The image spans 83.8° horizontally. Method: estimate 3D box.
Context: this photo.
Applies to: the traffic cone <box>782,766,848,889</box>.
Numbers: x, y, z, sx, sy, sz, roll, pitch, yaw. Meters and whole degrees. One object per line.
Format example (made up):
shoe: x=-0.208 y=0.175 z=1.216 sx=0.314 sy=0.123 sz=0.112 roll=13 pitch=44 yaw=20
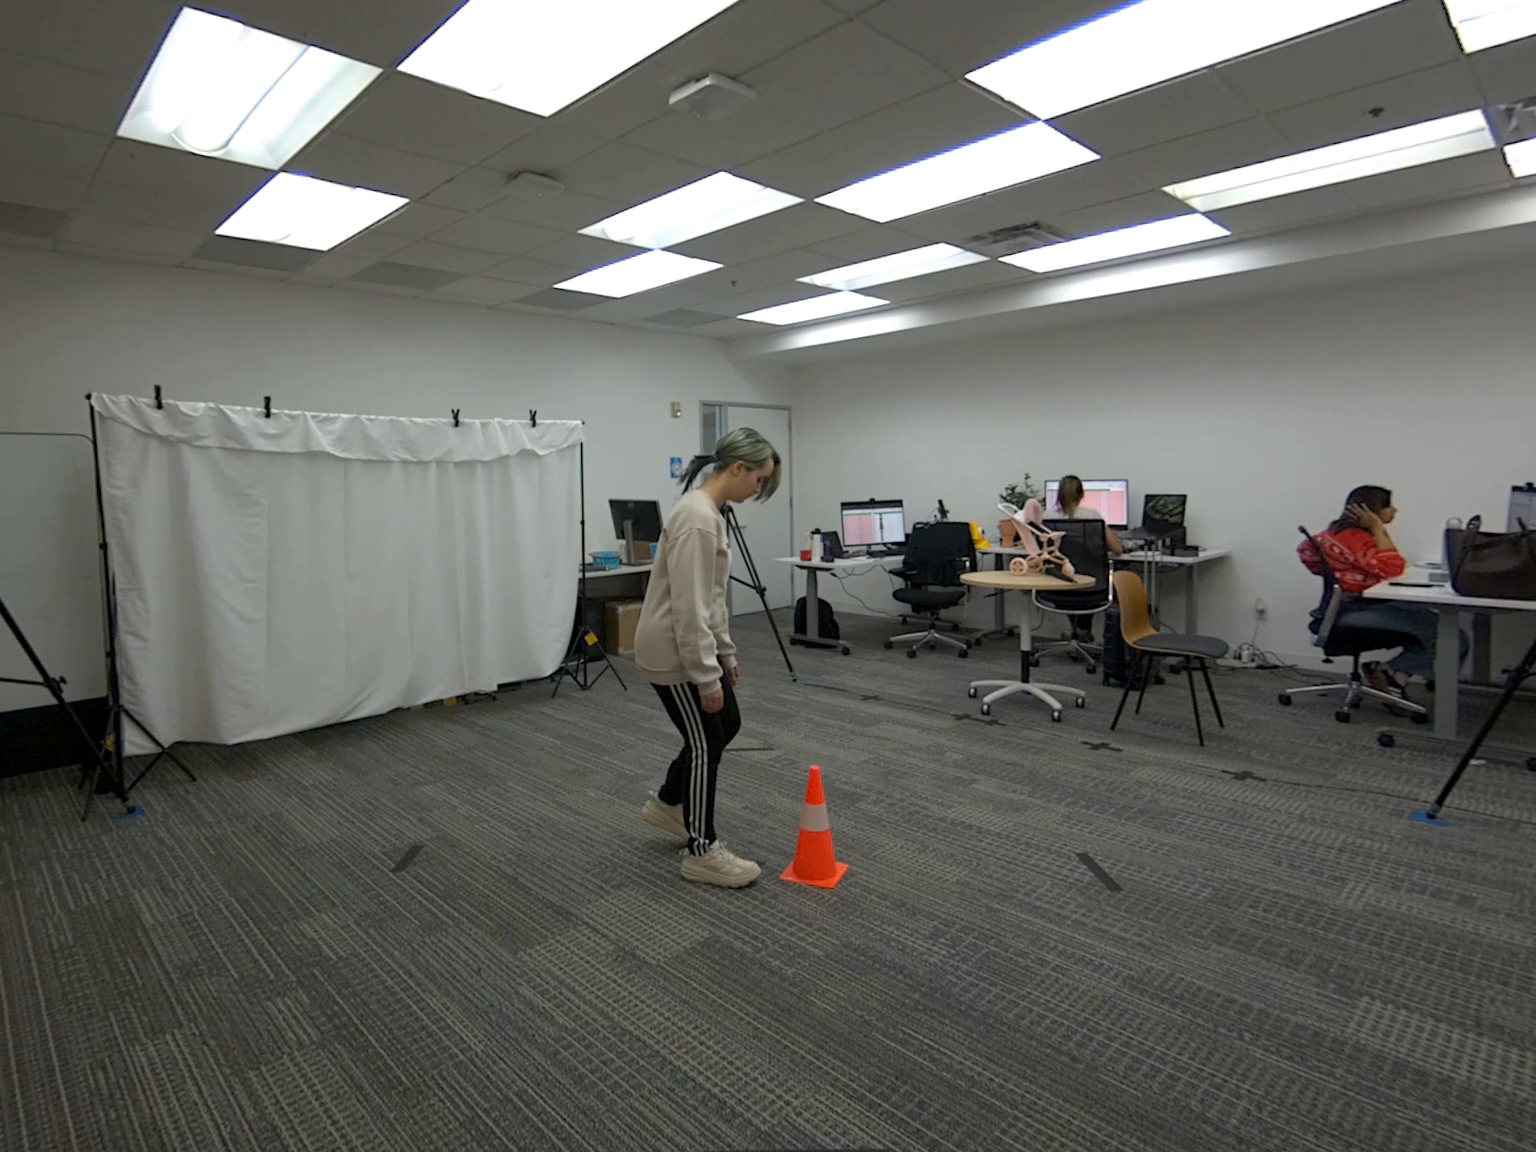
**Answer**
traffic cone: x=0.171 y=0.870 z=3.022 sx=0.208 sy=0.382 sz=0.201 roll=2 pitch=5 yaw=22
